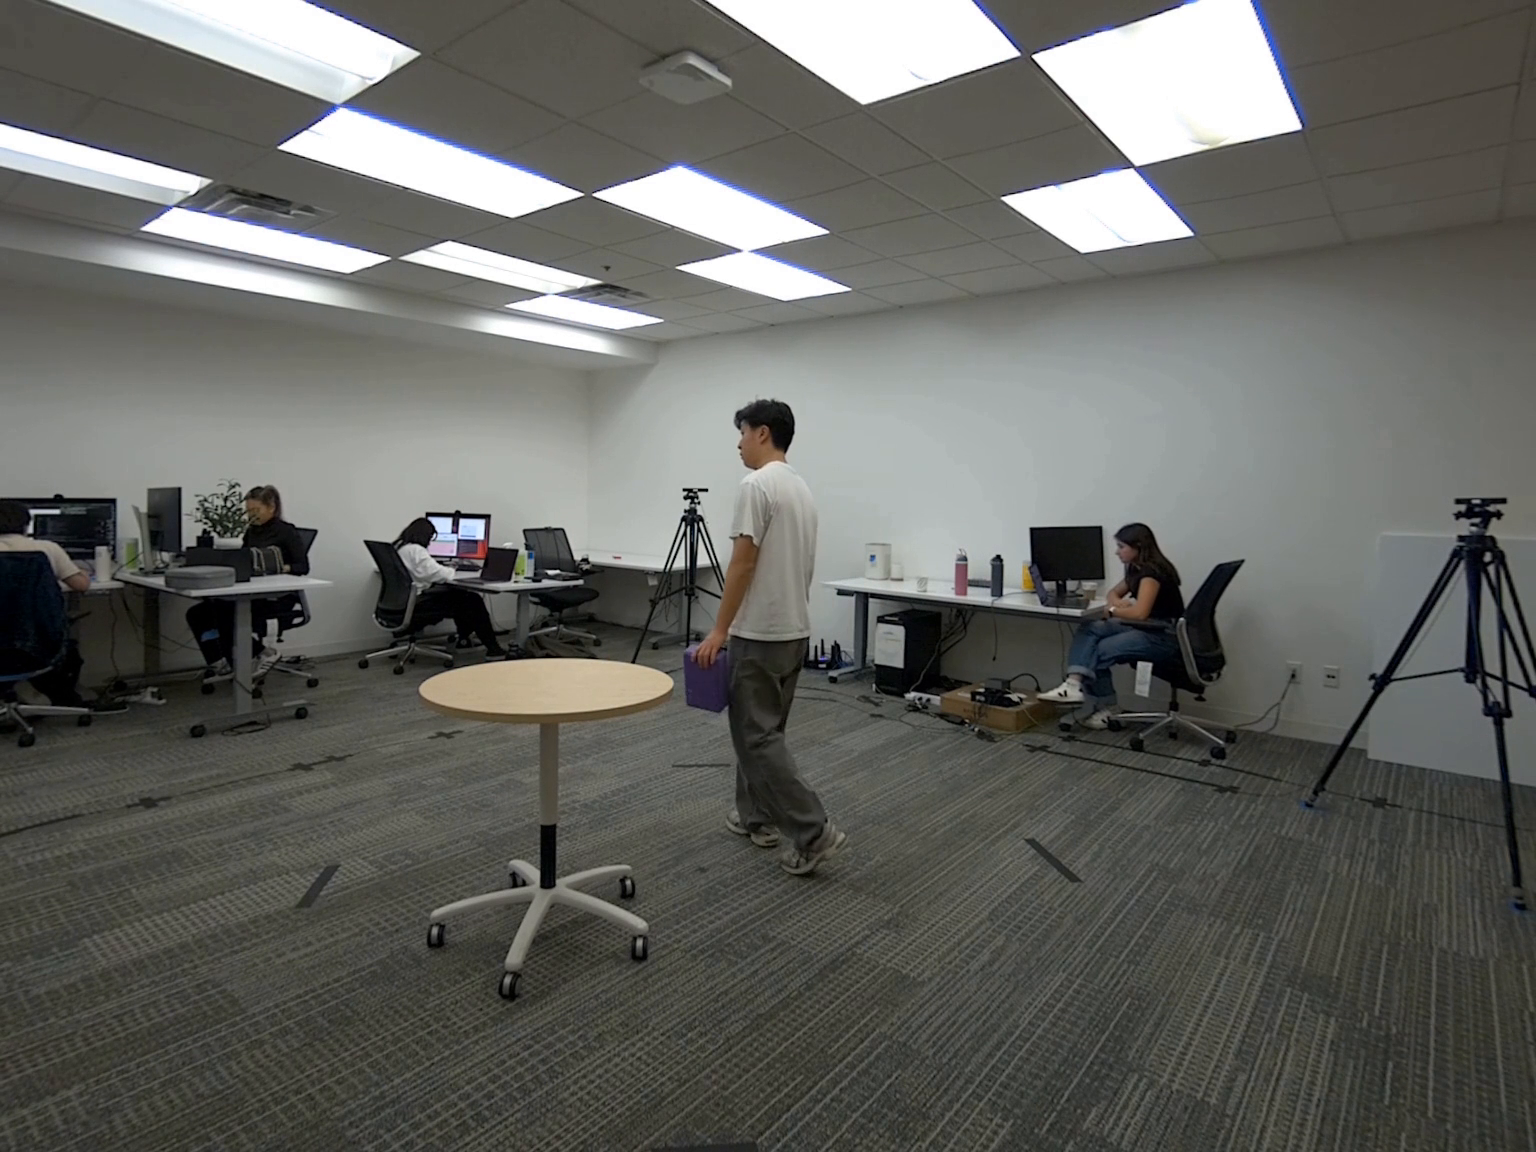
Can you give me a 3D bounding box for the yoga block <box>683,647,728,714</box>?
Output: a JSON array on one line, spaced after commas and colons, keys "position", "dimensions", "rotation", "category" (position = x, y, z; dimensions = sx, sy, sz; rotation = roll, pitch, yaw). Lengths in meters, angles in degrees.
[{"position": [-0.236, 0.370, 3.146], "dimensions": [0.153, 0.226, 0.075], "rotation": [6, 16, 24], "category": "yoga block"}]
